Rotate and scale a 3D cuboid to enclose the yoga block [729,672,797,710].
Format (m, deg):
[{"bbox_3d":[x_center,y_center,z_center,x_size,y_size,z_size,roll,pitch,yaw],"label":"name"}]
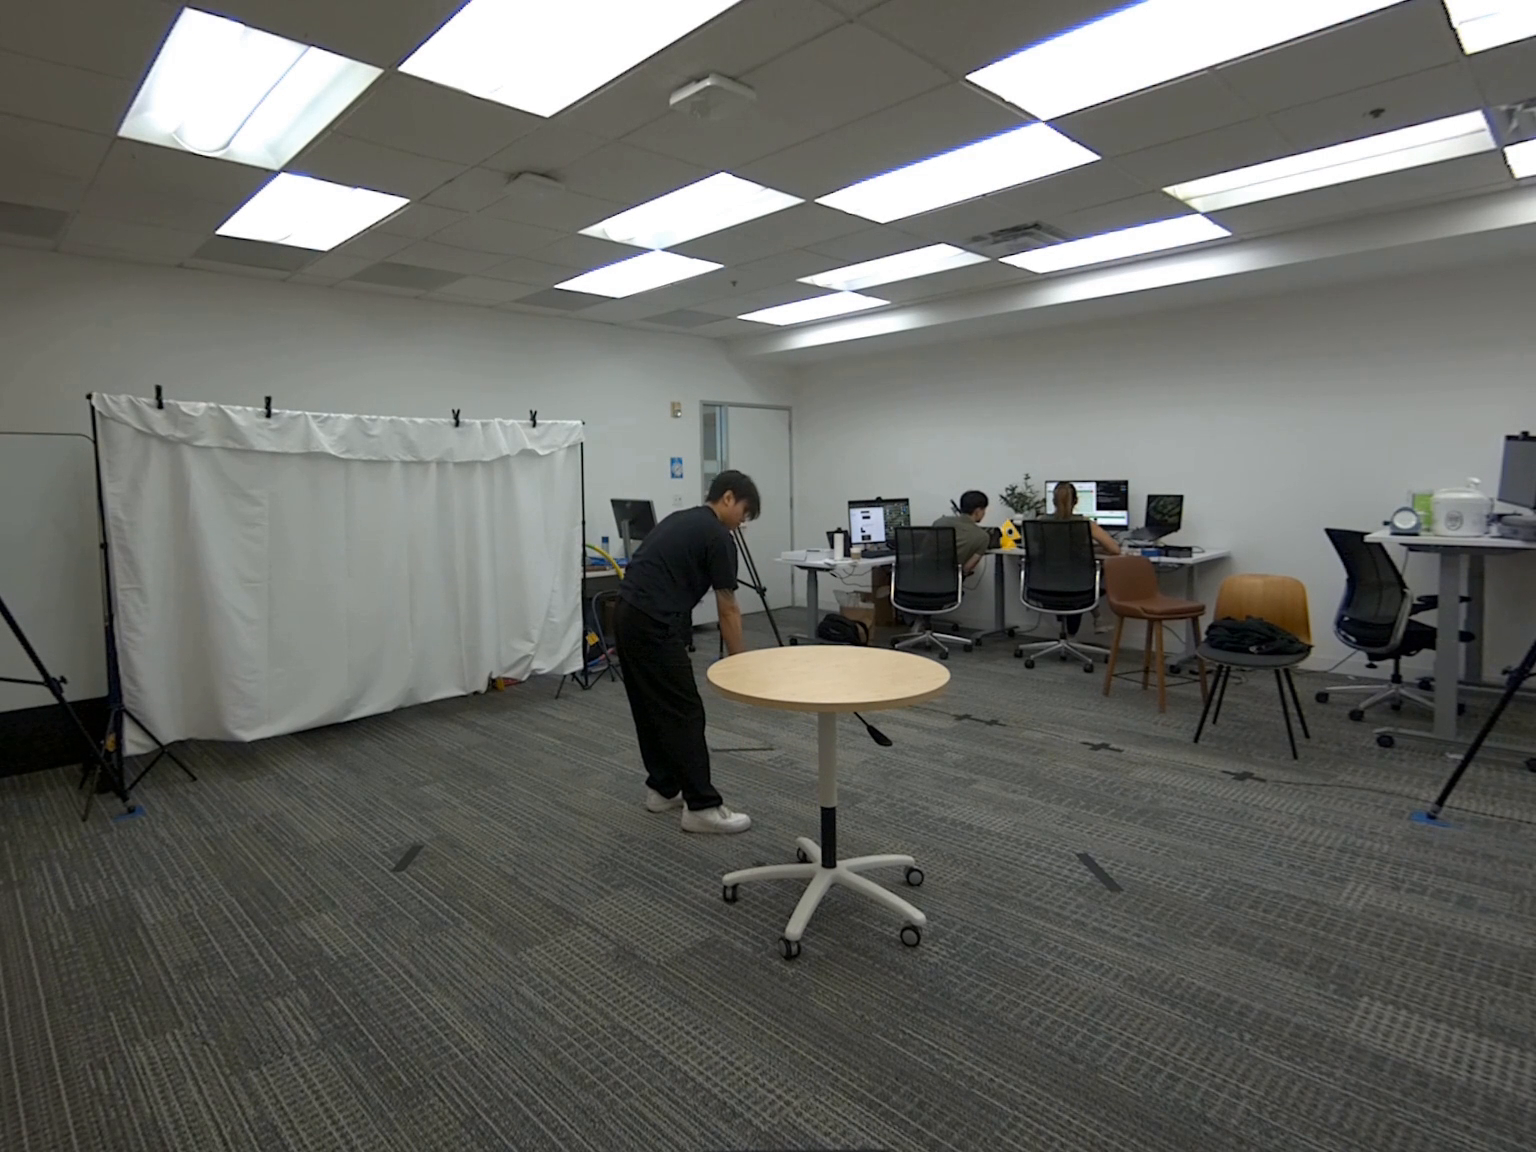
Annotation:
[{"bbox_3d":[-0.024,0.485,3.629,0.223,0.076,0.153,14,4,-25],"label":"yoga block"}]
